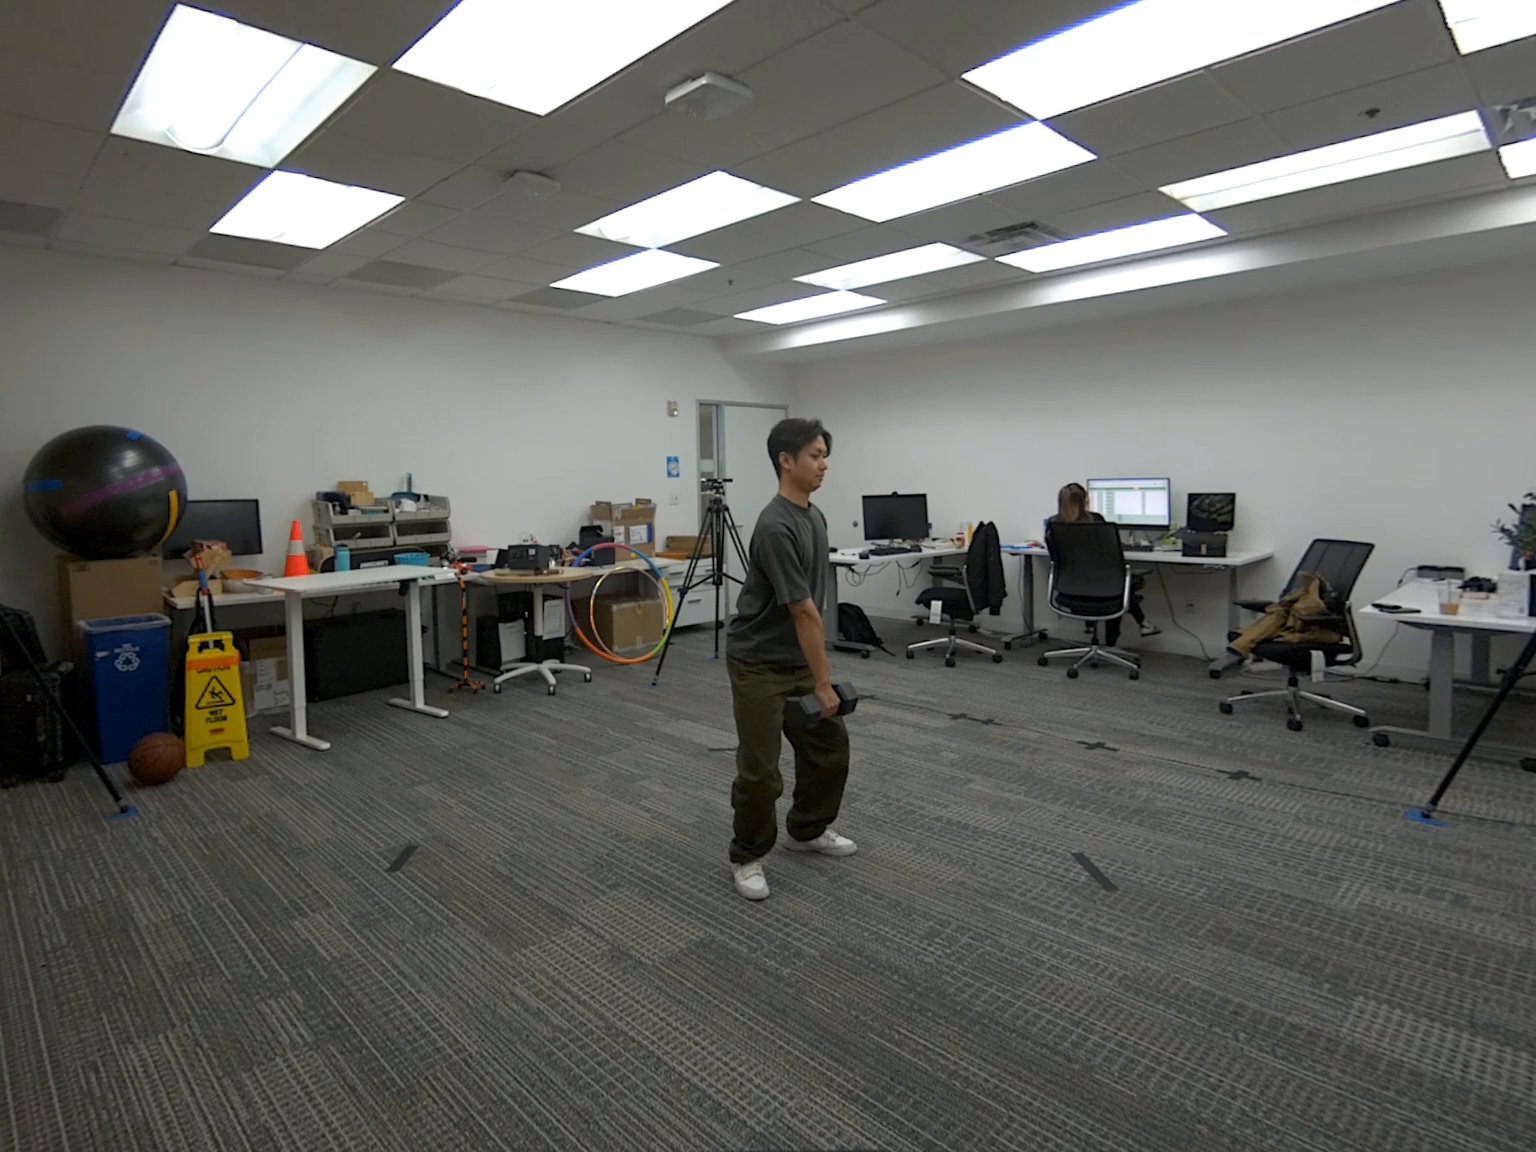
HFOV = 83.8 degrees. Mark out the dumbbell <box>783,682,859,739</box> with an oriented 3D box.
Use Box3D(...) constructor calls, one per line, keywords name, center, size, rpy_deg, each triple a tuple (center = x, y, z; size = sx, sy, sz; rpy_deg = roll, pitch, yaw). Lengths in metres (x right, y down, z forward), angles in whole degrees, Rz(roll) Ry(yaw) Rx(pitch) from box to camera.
Box3D(name="dumbbell", center=(0.178, 0.437, 2.880), size=(0.113, 0.121, 0.286), rpy_deg=(32, 26, 35))
